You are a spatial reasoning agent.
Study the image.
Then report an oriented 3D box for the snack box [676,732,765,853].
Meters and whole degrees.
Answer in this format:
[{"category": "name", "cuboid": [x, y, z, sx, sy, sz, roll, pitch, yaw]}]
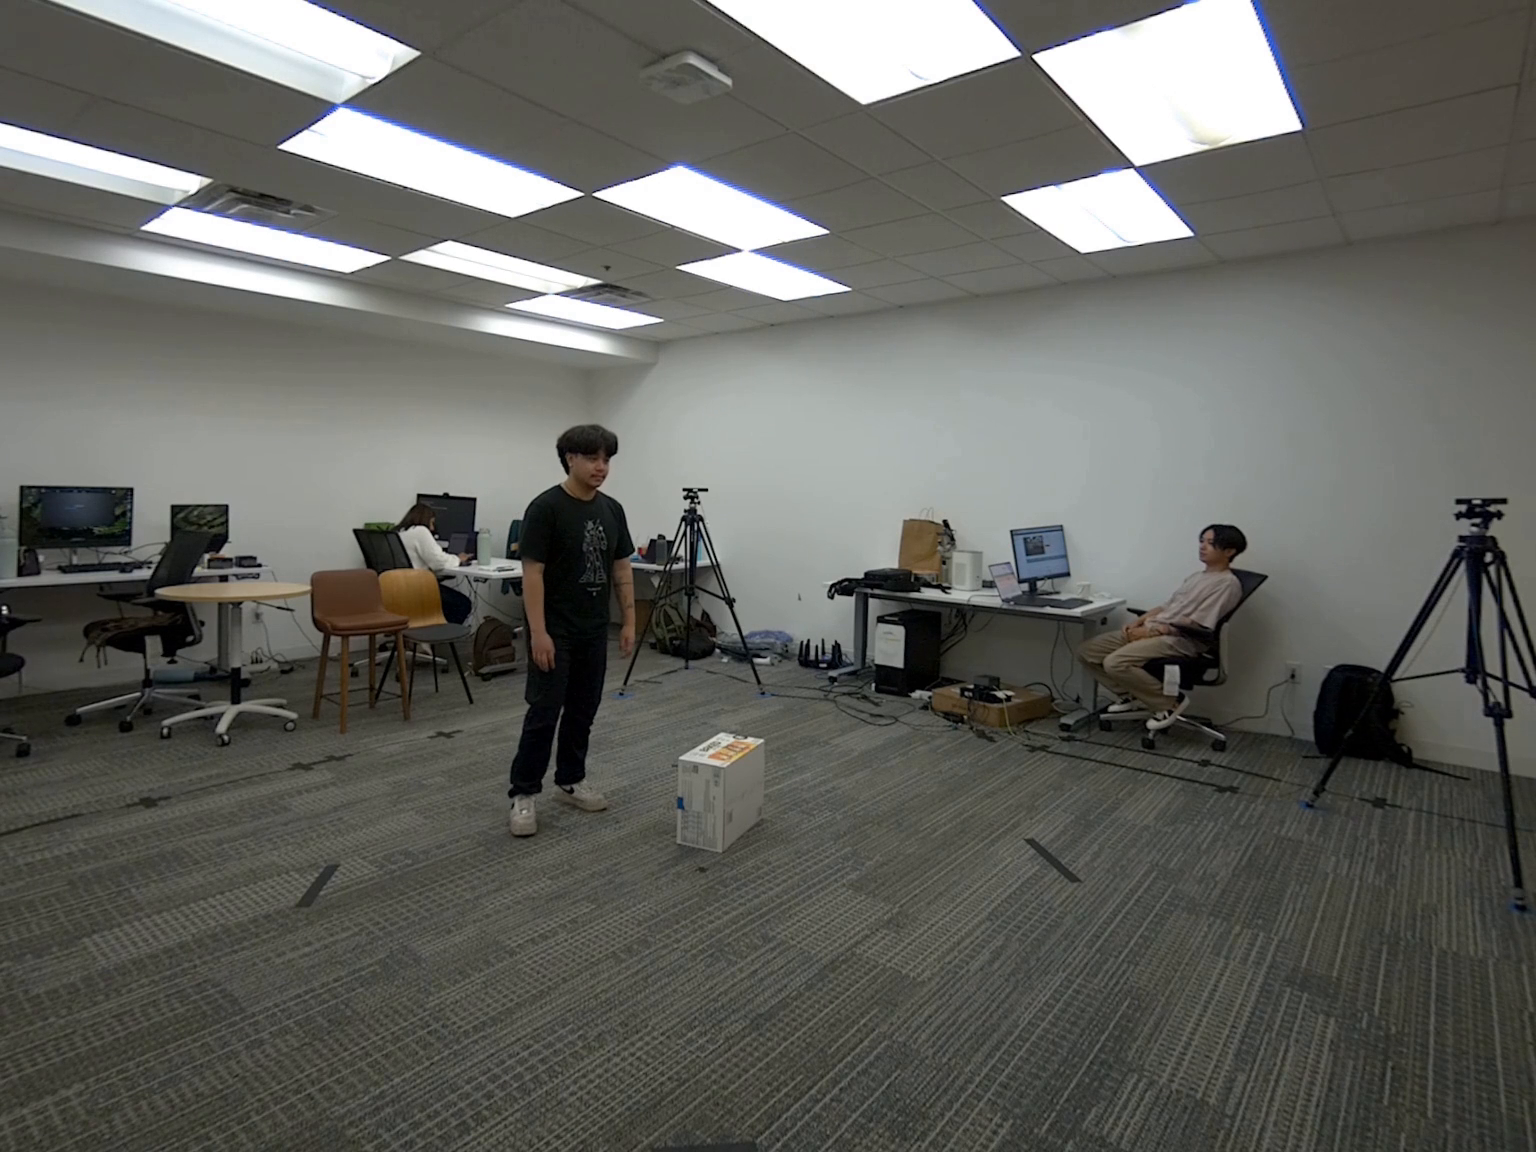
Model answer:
[{"category": "snack box", "cuboid": [-0.194, 0.864, 3.458, 0.211, 0.339, 0.397, 3, 5, 23]}]
